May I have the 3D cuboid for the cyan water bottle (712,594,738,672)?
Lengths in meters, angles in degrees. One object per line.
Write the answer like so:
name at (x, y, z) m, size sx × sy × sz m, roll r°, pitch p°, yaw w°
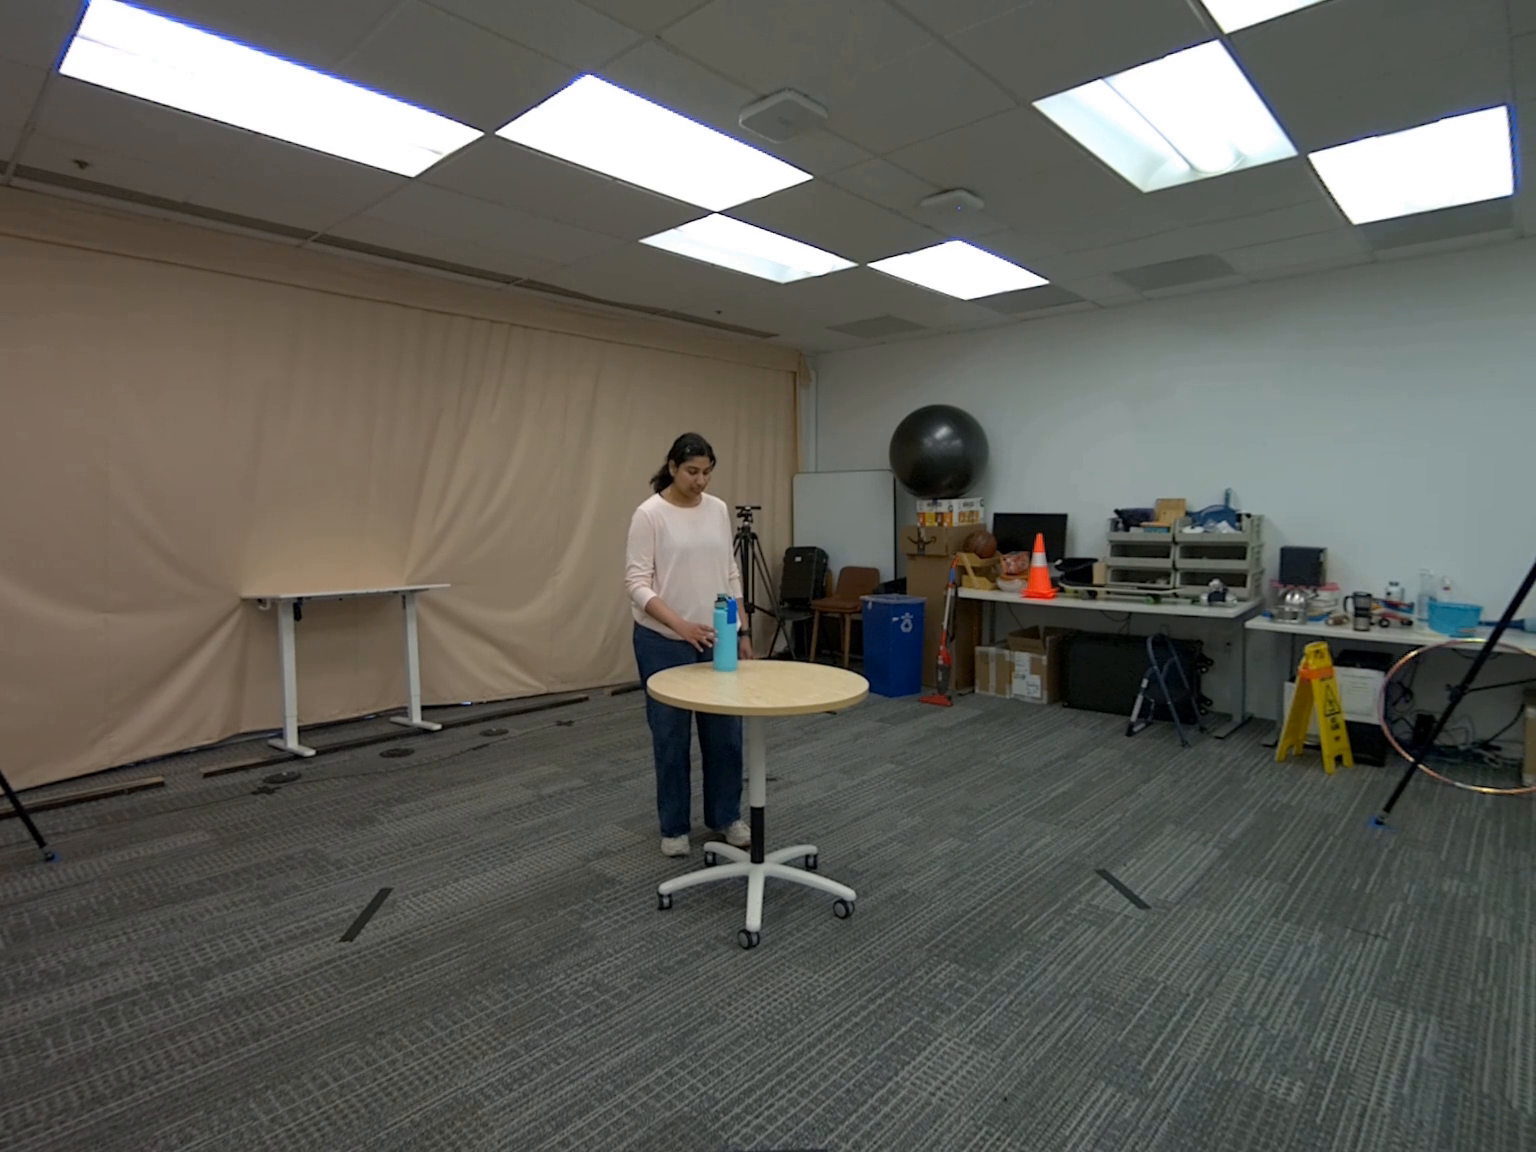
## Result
cyan water bottle at (-0.163, 0.207, 3.132) m, size 0.092 × 0.283 × 0.092 m, roll 1°, pitch 3°, yaw -2°
